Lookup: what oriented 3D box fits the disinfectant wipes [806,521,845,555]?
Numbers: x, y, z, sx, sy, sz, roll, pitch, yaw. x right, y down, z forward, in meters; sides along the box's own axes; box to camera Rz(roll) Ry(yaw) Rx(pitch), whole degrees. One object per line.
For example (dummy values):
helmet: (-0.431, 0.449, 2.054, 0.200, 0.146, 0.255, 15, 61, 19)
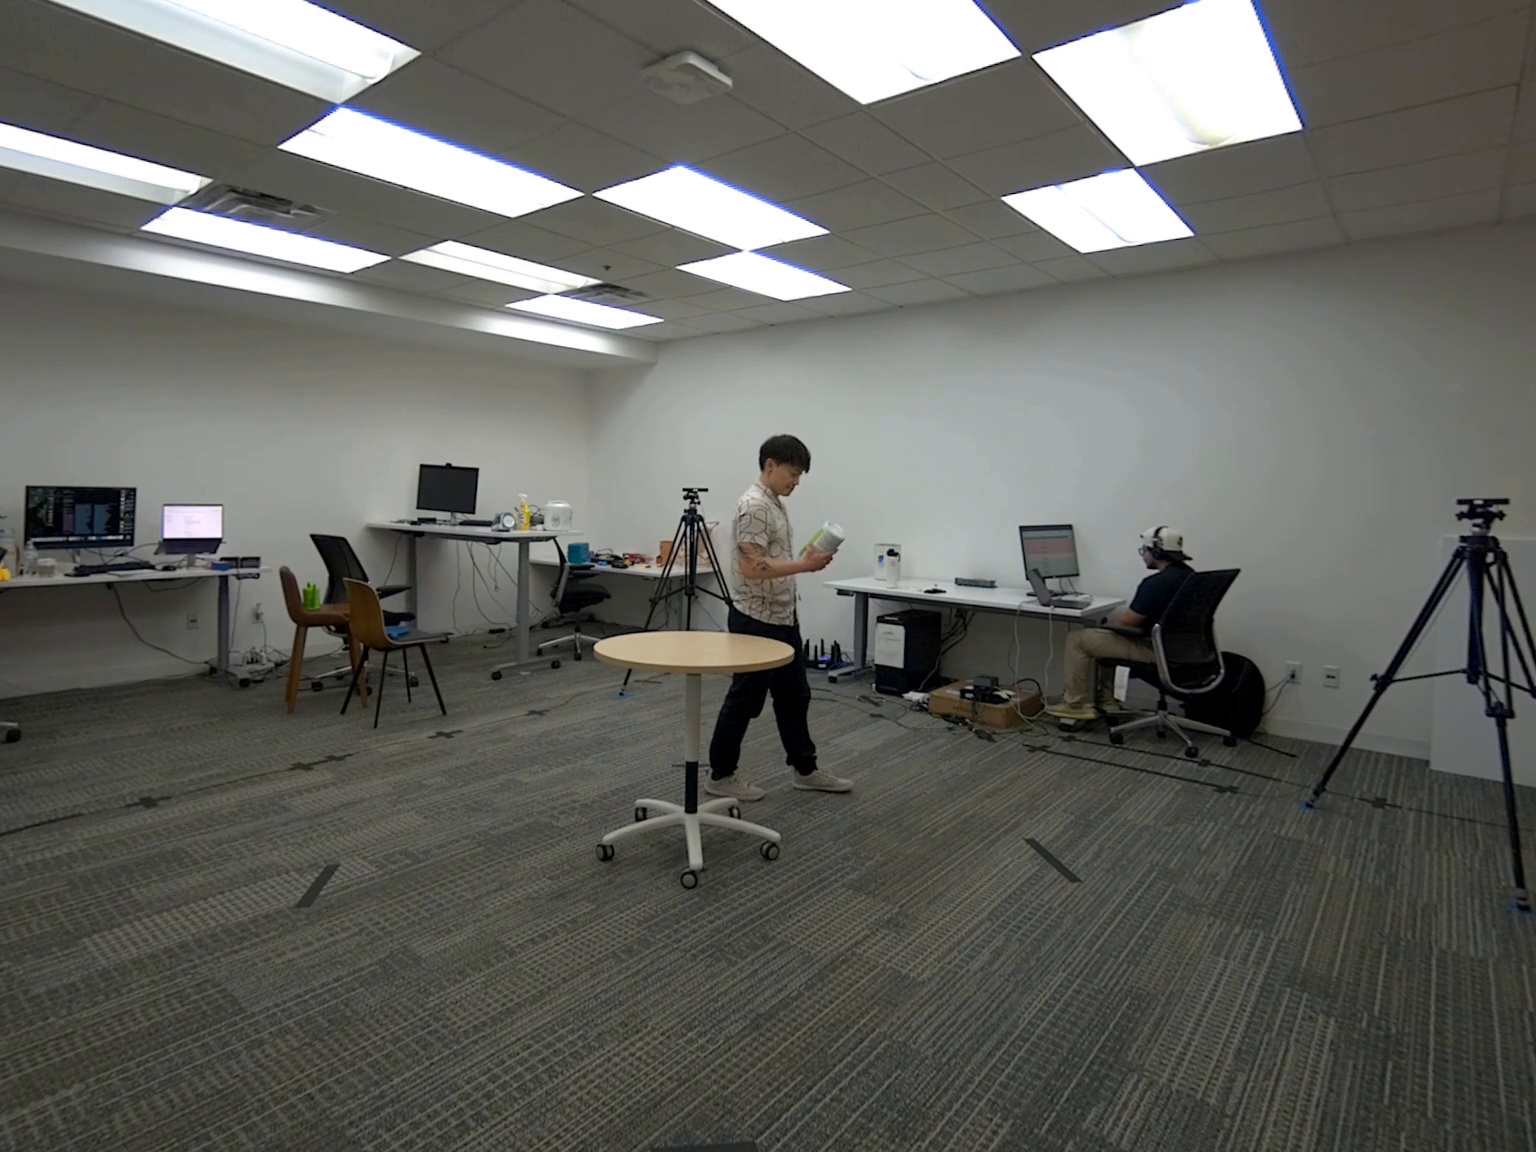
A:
disinfectant wipes: (0.226, -0.135, 3.627, 0.115, 0.217, 0.121, 28, 27, -18)
